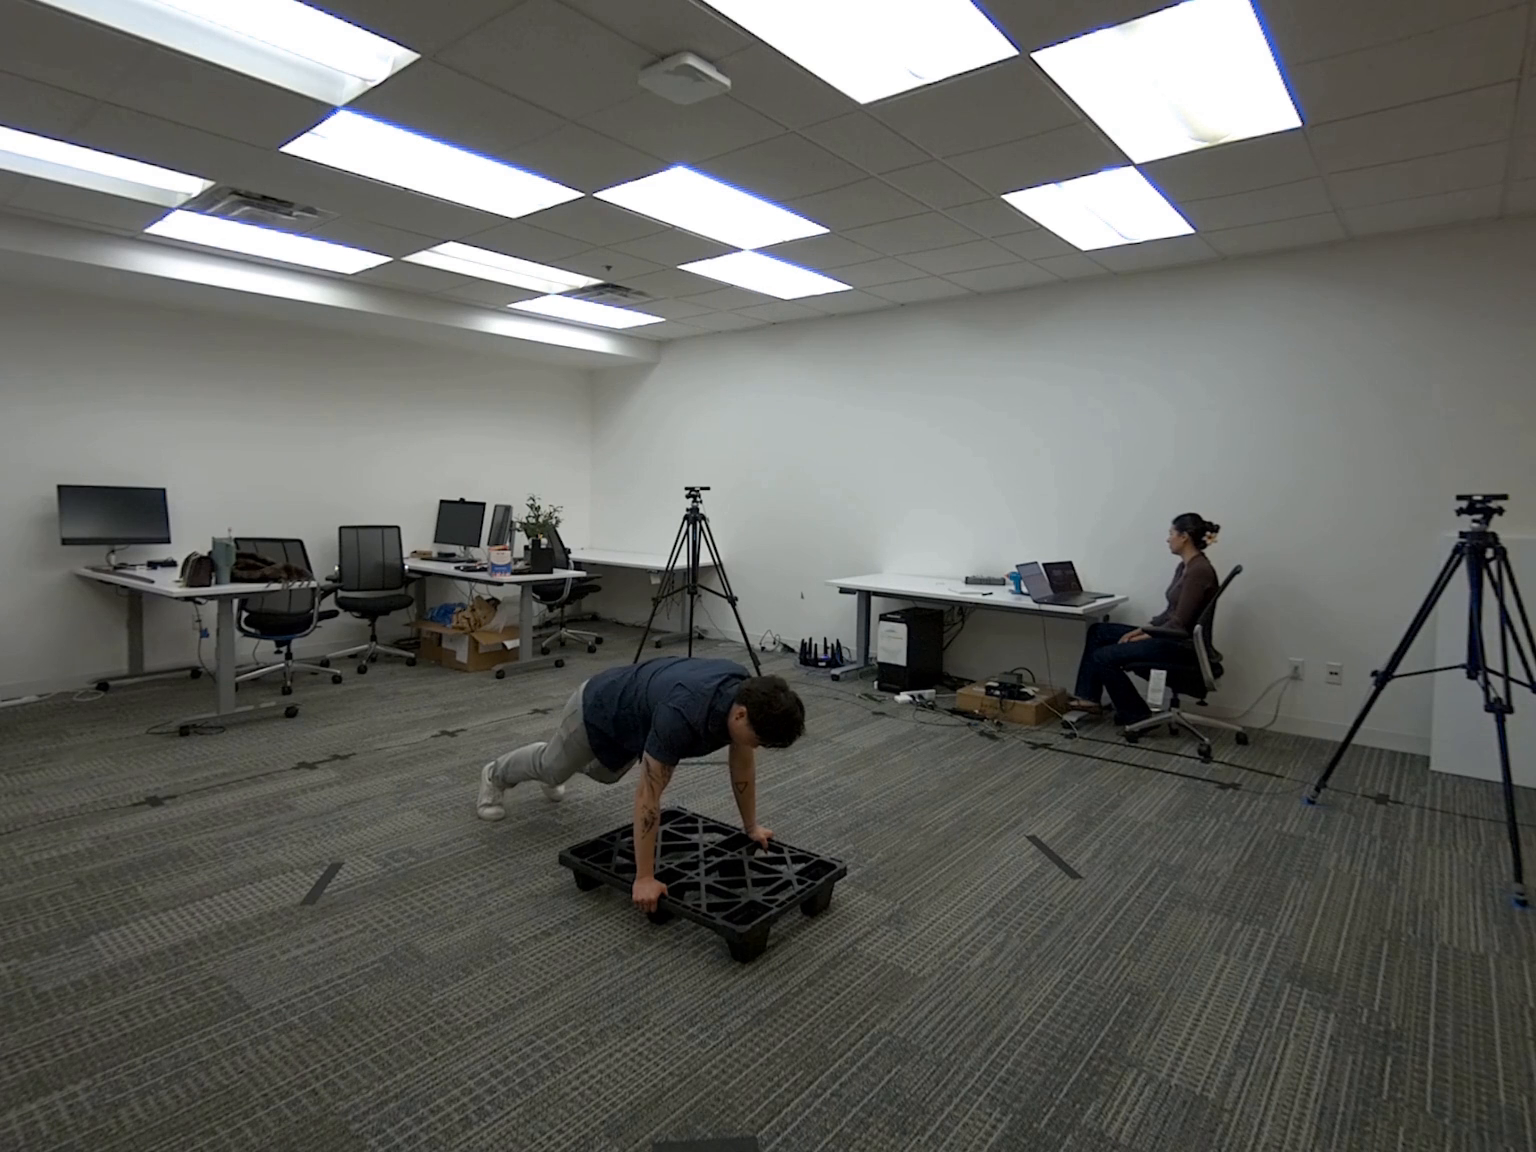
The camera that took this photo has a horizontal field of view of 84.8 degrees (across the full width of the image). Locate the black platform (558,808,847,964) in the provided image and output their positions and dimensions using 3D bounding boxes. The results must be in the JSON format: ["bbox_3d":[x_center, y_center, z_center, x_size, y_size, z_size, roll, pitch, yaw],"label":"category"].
[{"bbox_3d":[-0.232,1.022,2.879,0.832,0.143,0.588,5,7,37],"label":"black platform"}]
